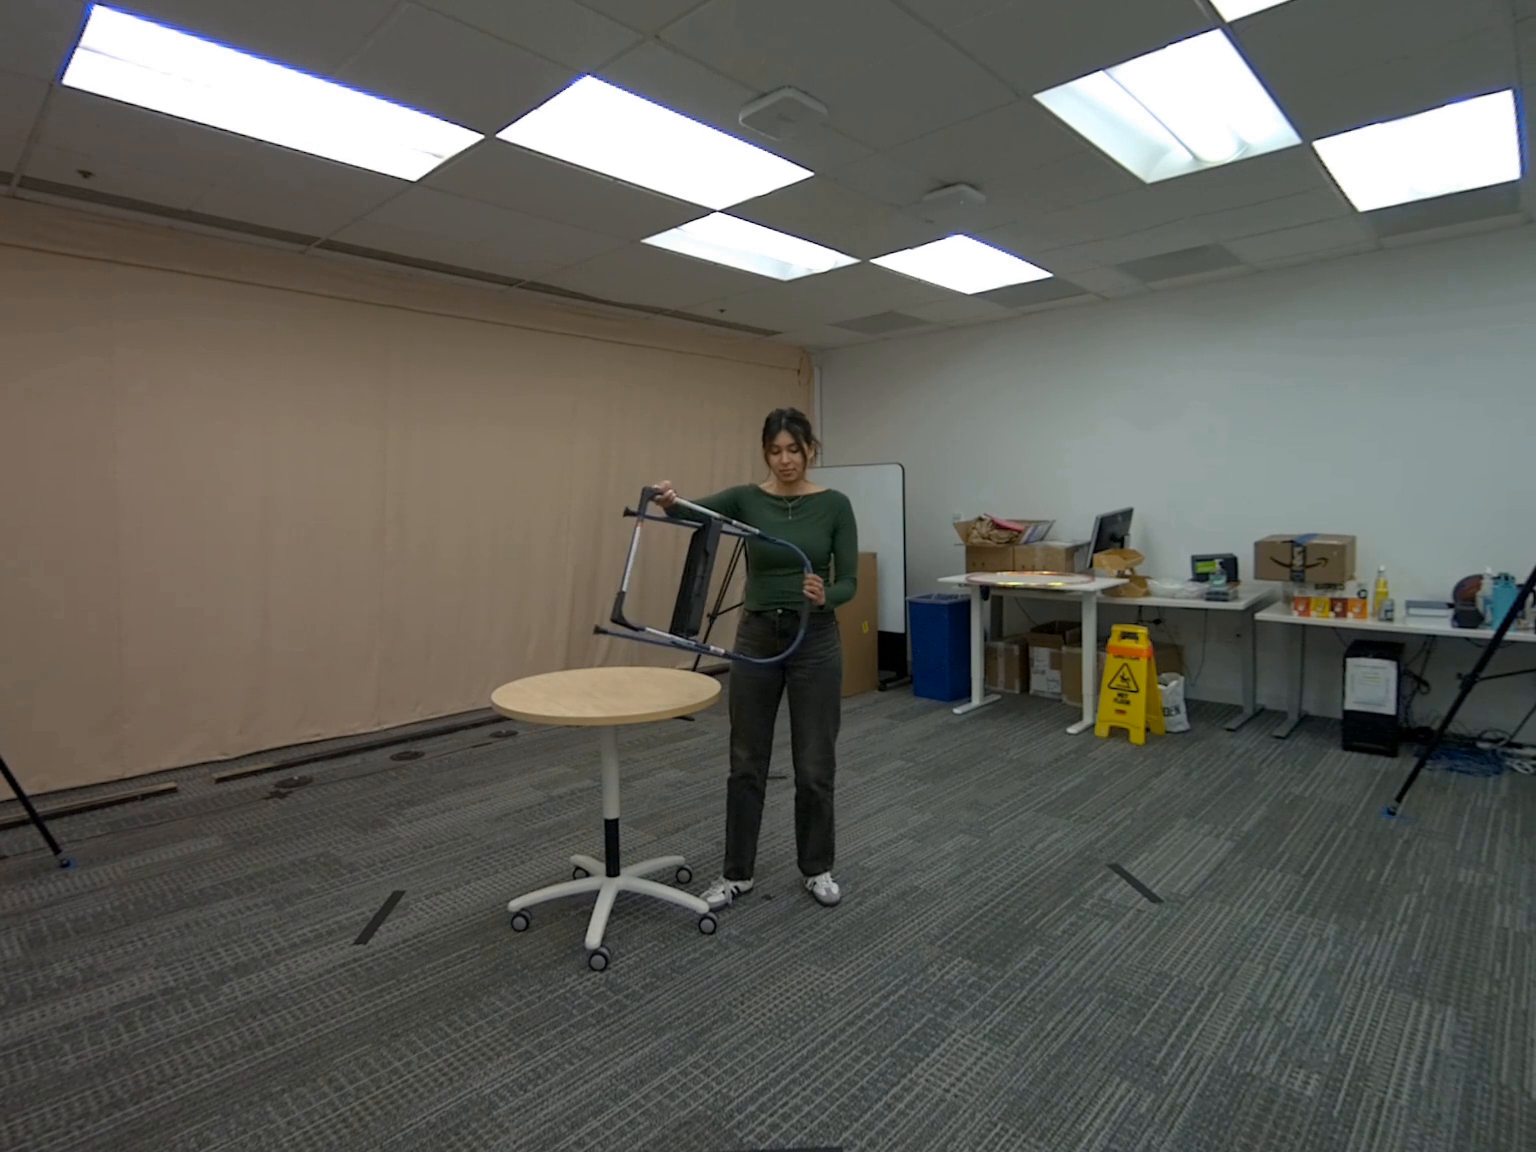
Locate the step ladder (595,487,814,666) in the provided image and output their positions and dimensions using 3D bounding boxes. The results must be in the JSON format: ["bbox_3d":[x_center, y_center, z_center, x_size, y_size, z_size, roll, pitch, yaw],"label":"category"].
[{"bbox_3d":[-0.173,0.037,2.618,0.596,0.433,0.353,15,-13,-15],"label":"step ladder"}]
